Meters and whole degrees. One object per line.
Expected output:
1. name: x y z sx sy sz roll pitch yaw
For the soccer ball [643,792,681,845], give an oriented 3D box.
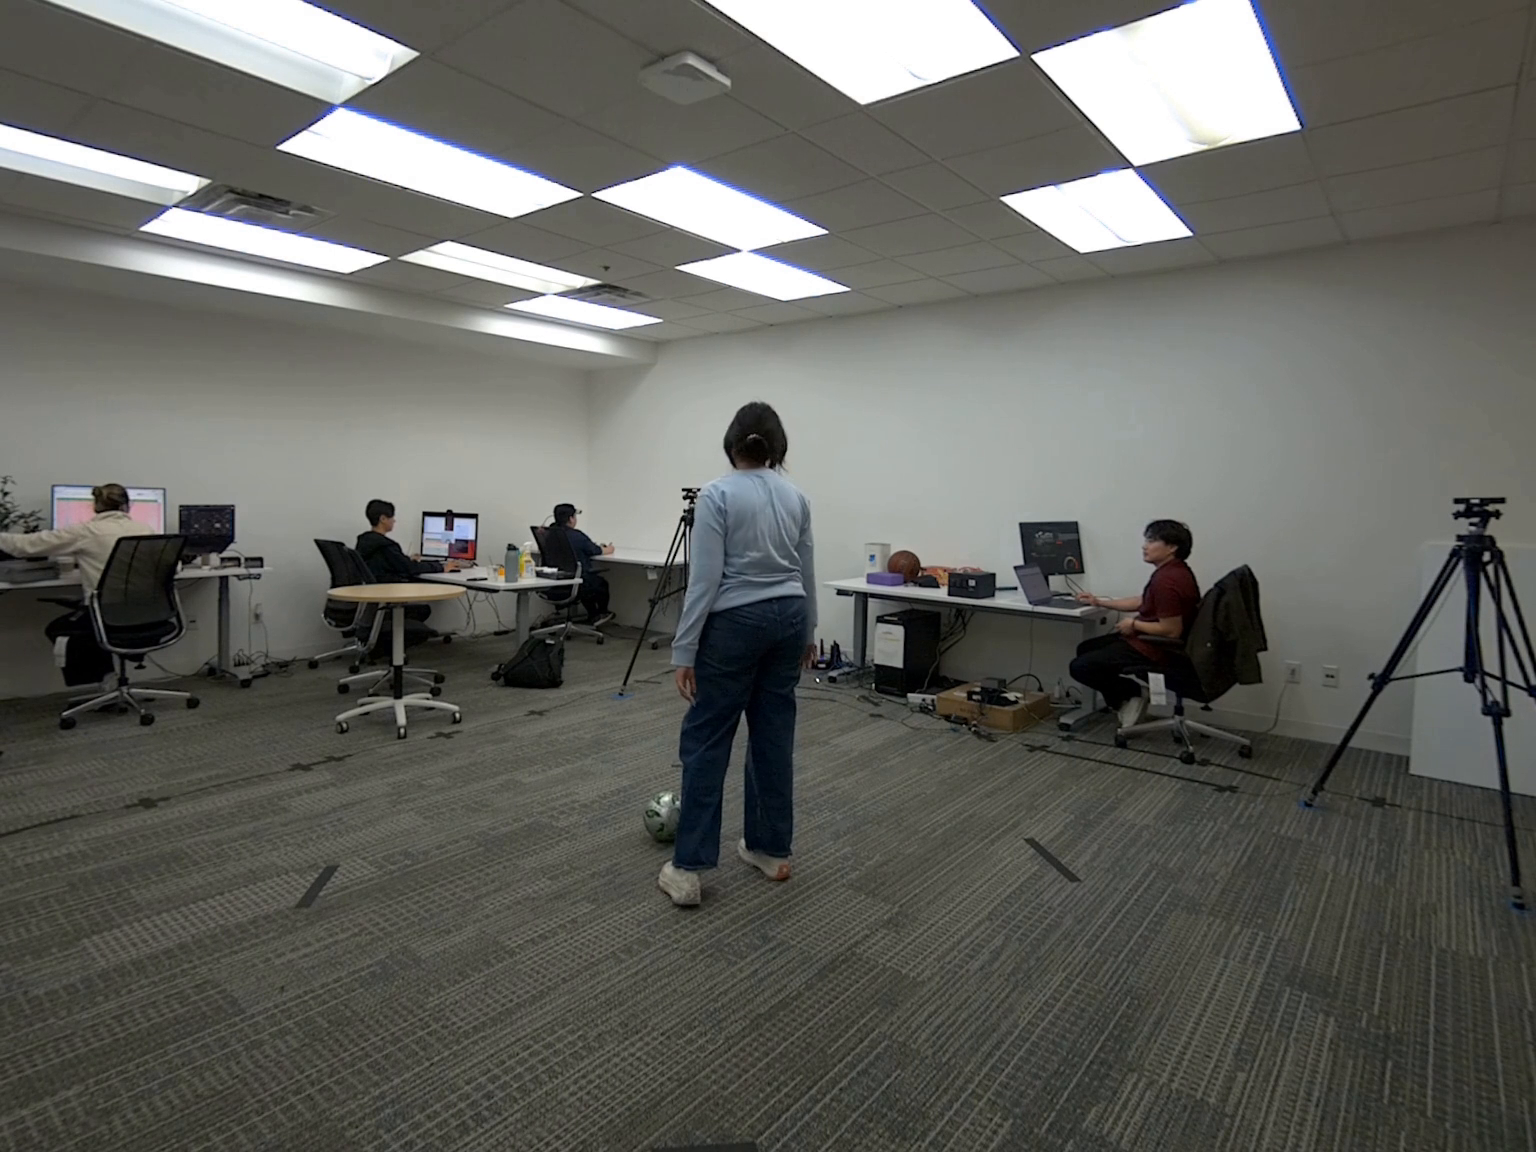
1. soccer ball: -0.411 0.948 3.373 0.187 0.187 0.188 1 4 -2
